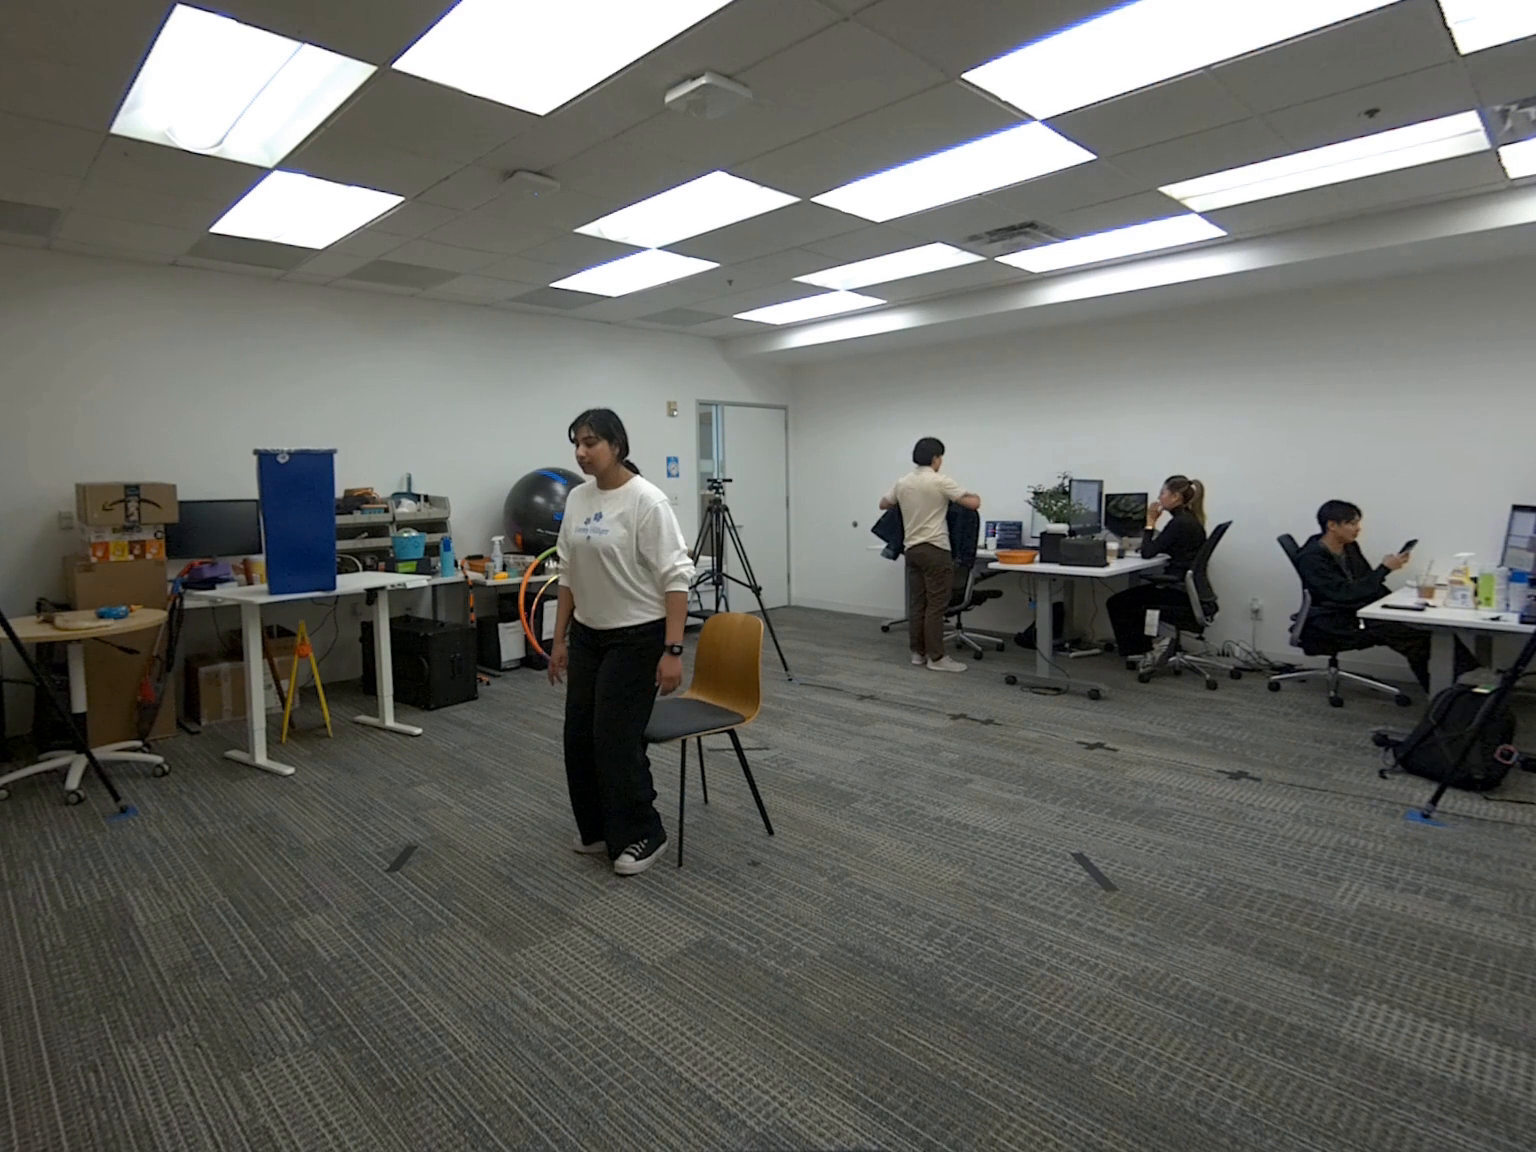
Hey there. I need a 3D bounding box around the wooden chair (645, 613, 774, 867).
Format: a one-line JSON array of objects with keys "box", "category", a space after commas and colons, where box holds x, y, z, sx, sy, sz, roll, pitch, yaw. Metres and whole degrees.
[{"box": [-0.298, 0.592, 3.363, 0.508, 0.876, 0.493, 1, 2, -40], "category": "wooden chair"}]
